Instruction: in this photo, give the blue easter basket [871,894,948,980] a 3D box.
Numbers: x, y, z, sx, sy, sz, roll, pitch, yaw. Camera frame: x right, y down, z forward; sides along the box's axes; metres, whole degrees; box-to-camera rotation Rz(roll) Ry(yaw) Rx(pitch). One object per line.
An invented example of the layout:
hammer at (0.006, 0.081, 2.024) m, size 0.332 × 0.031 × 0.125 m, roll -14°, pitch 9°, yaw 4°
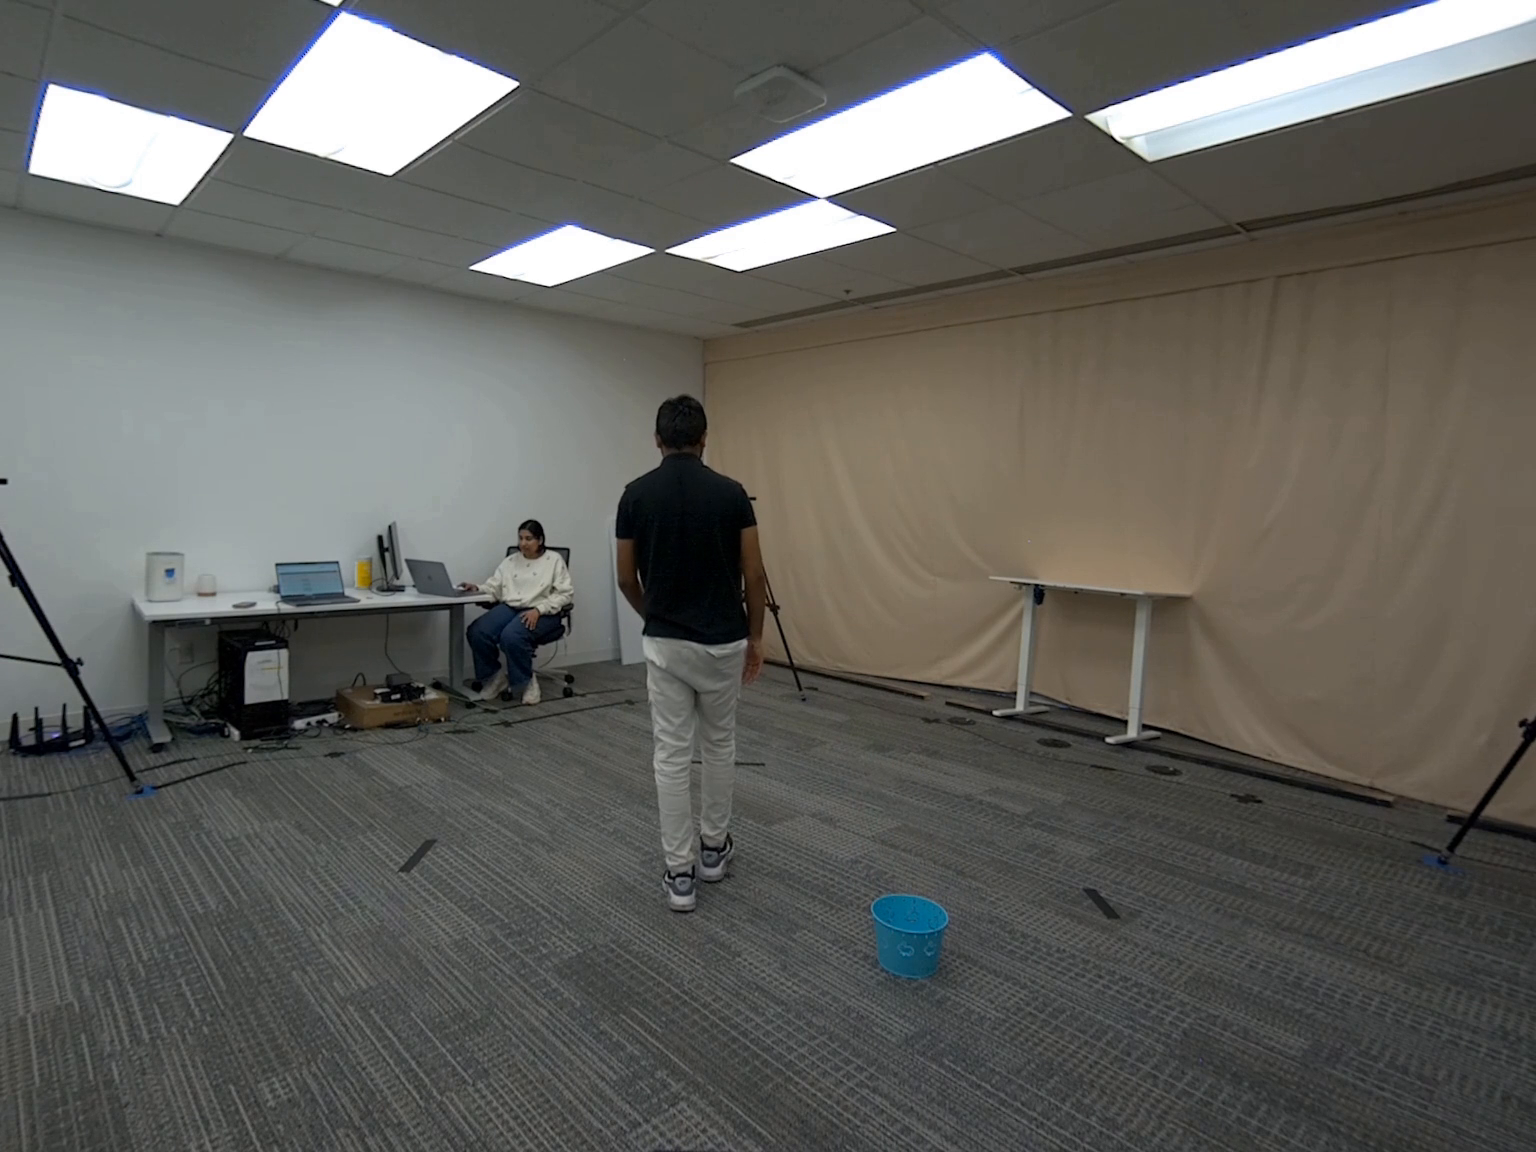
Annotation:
blue easter basket at (0.425, 1.094, 2.557) m, size 0.243 × 0.155 × 0.244 m, roll 2°, pitch 5°, yaw -2°
